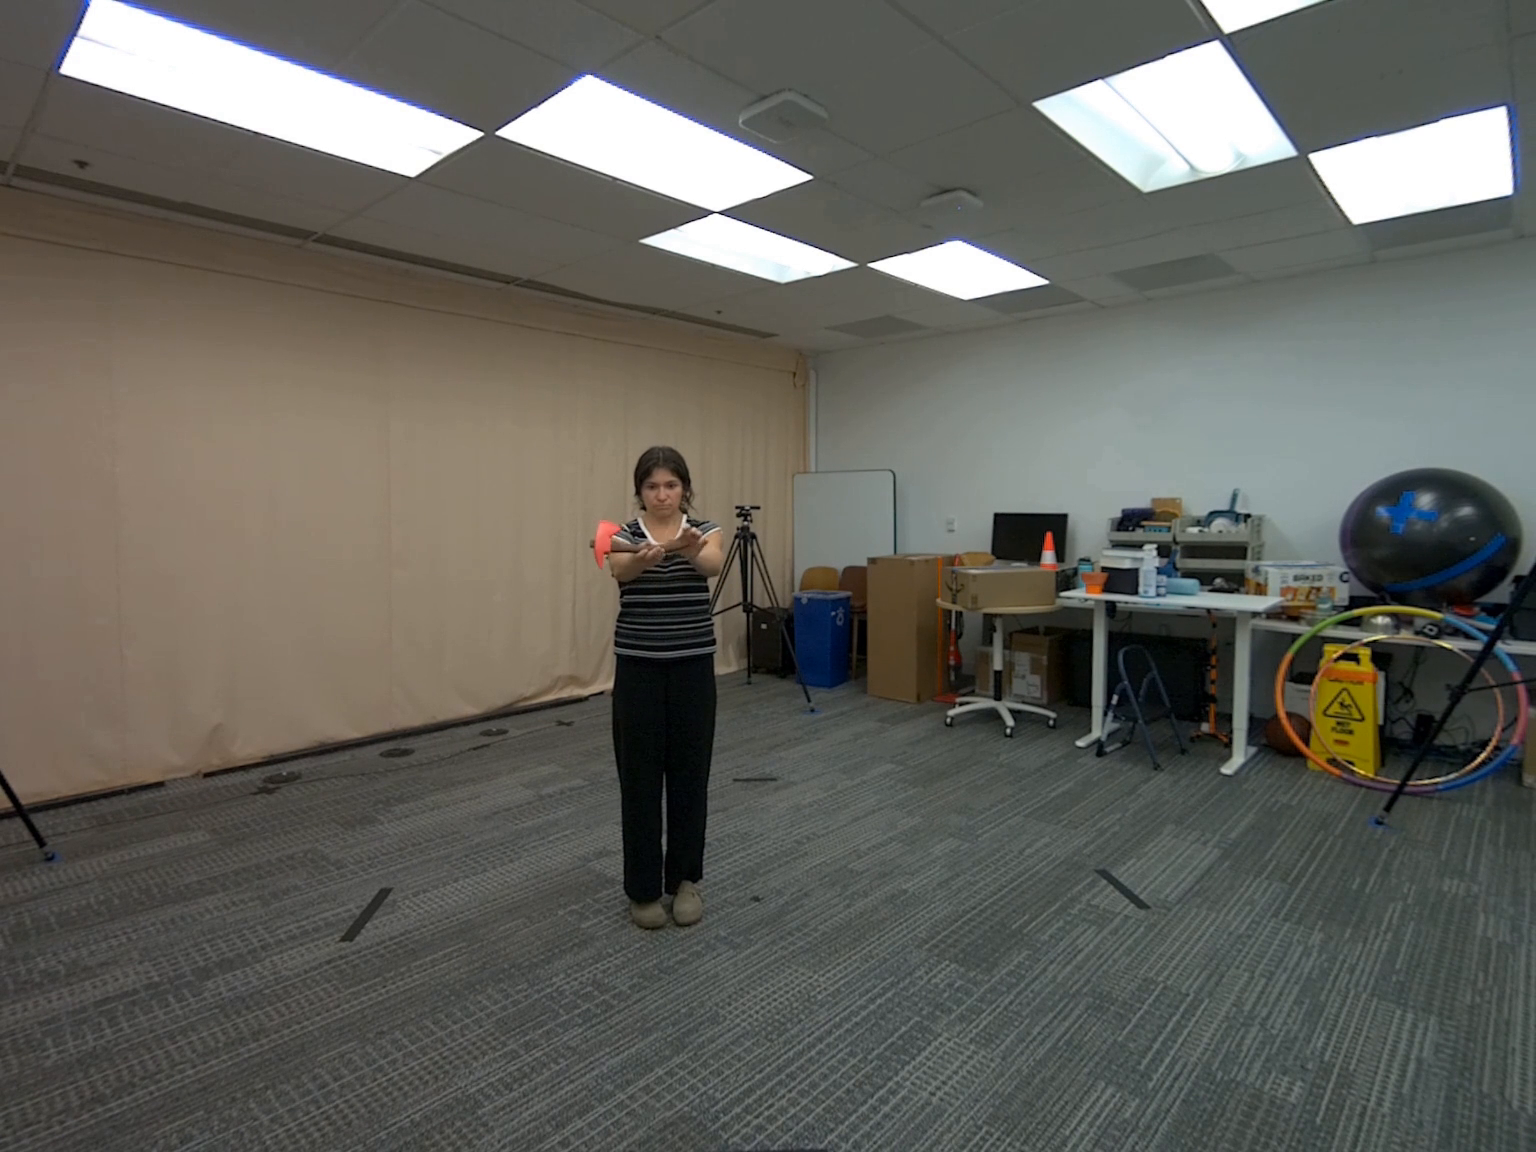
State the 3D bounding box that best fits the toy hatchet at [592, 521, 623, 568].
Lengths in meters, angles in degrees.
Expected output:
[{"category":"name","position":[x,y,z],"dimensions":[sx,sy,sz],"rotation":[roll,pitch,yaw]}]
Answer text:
[{"category":"toy hatchet","position":[-0.336,-0.105,2.284],"dimensions":[0.265,0.133,0.029],"rotation":[-13,-21,-23]}]
